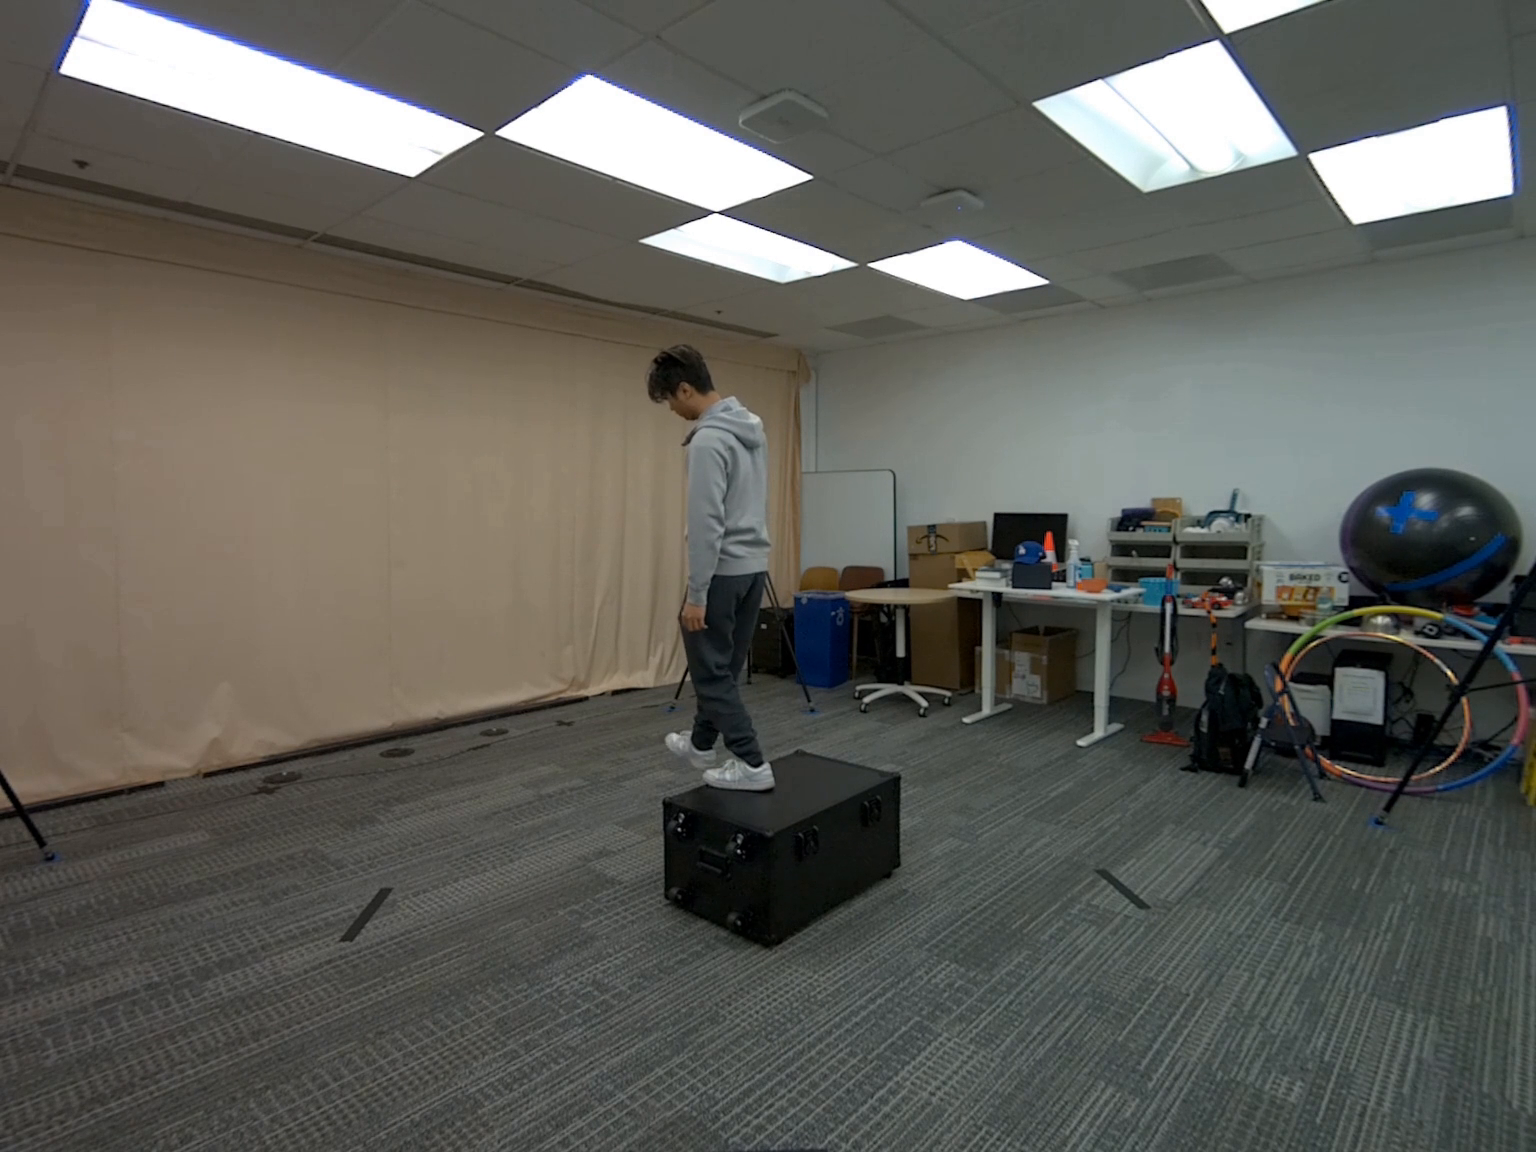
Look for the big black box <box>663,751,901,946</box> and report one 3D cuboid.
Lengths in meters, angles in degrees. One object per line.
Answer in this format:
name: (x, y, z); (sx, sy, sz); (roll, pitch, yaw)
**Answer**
big black box: (0.049, 0.949, 3.036); (0.538, 0.395, 0.835); (3, 5, 41)
